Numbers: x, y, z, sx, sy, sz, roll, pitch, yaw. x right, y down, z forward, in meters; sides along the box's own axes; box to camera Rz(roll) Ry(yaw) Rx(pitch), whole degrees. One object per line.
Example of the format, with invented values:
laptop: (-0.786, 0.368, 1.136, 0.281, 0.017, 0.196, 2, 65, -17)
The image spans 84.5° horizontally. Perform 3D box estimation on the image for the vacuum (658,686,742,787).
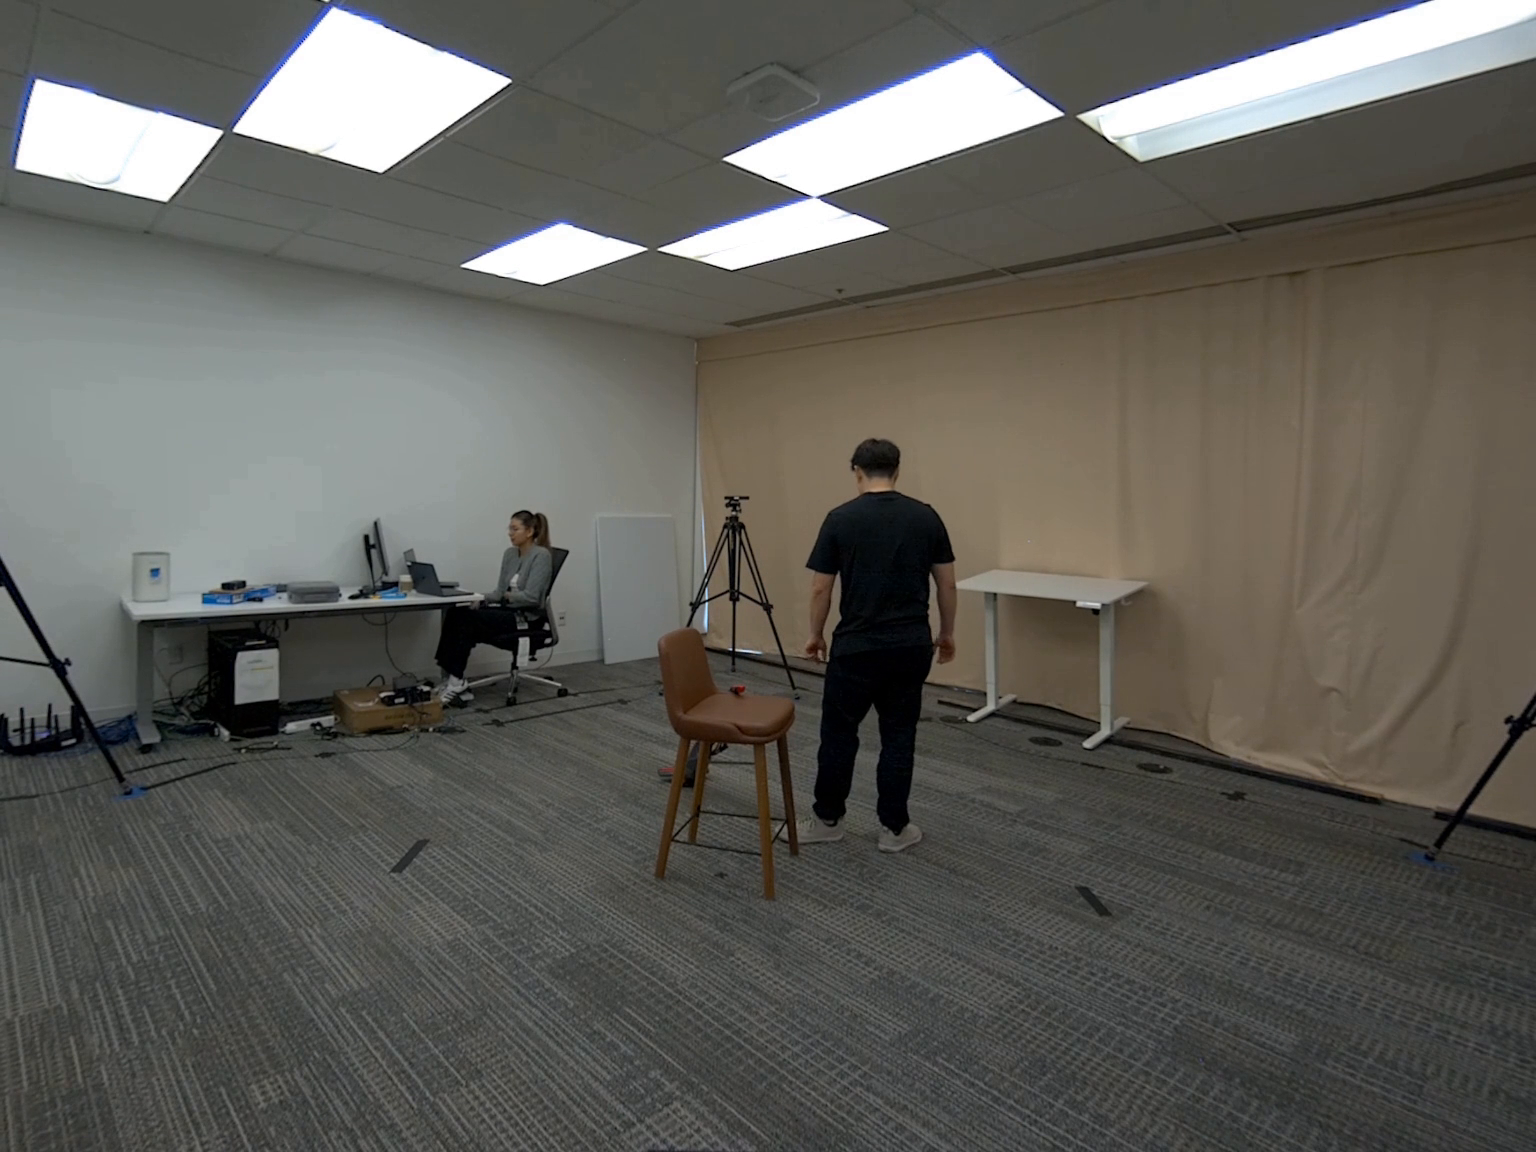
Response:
vacuum: (-0.258, 0.713, 3.710, 0.249, 0.147, 1.041, -1, -31, -21)
